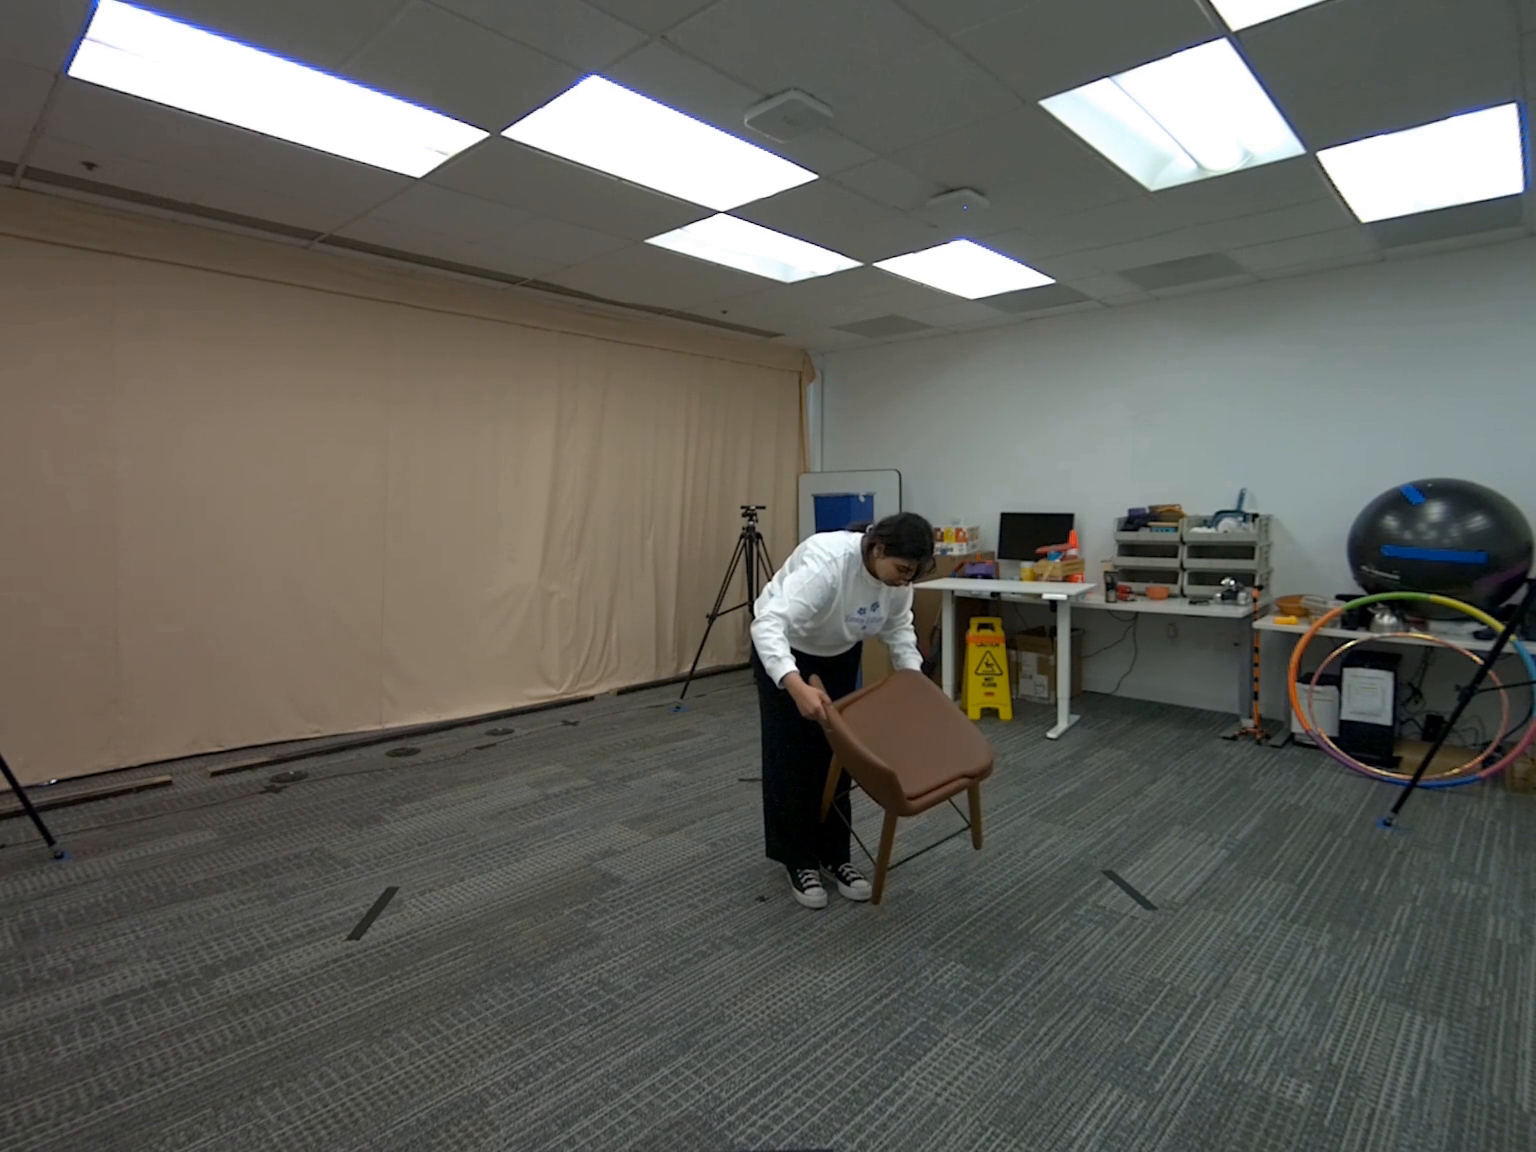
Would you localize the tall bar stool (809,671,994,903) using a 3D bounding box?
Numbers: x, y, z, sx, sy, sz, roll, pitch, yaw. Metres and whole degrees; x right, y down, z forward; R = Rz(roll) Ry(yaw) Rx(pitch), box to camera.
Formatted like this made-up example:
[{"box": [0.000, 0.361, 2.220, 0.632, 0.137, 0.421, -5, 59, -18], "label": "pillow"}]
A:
[{"box": [0.440, 0.627, 2.749, 0.463, 0.868, 0.472, -25, 46, -15], "label": "tall bar stool"}]
